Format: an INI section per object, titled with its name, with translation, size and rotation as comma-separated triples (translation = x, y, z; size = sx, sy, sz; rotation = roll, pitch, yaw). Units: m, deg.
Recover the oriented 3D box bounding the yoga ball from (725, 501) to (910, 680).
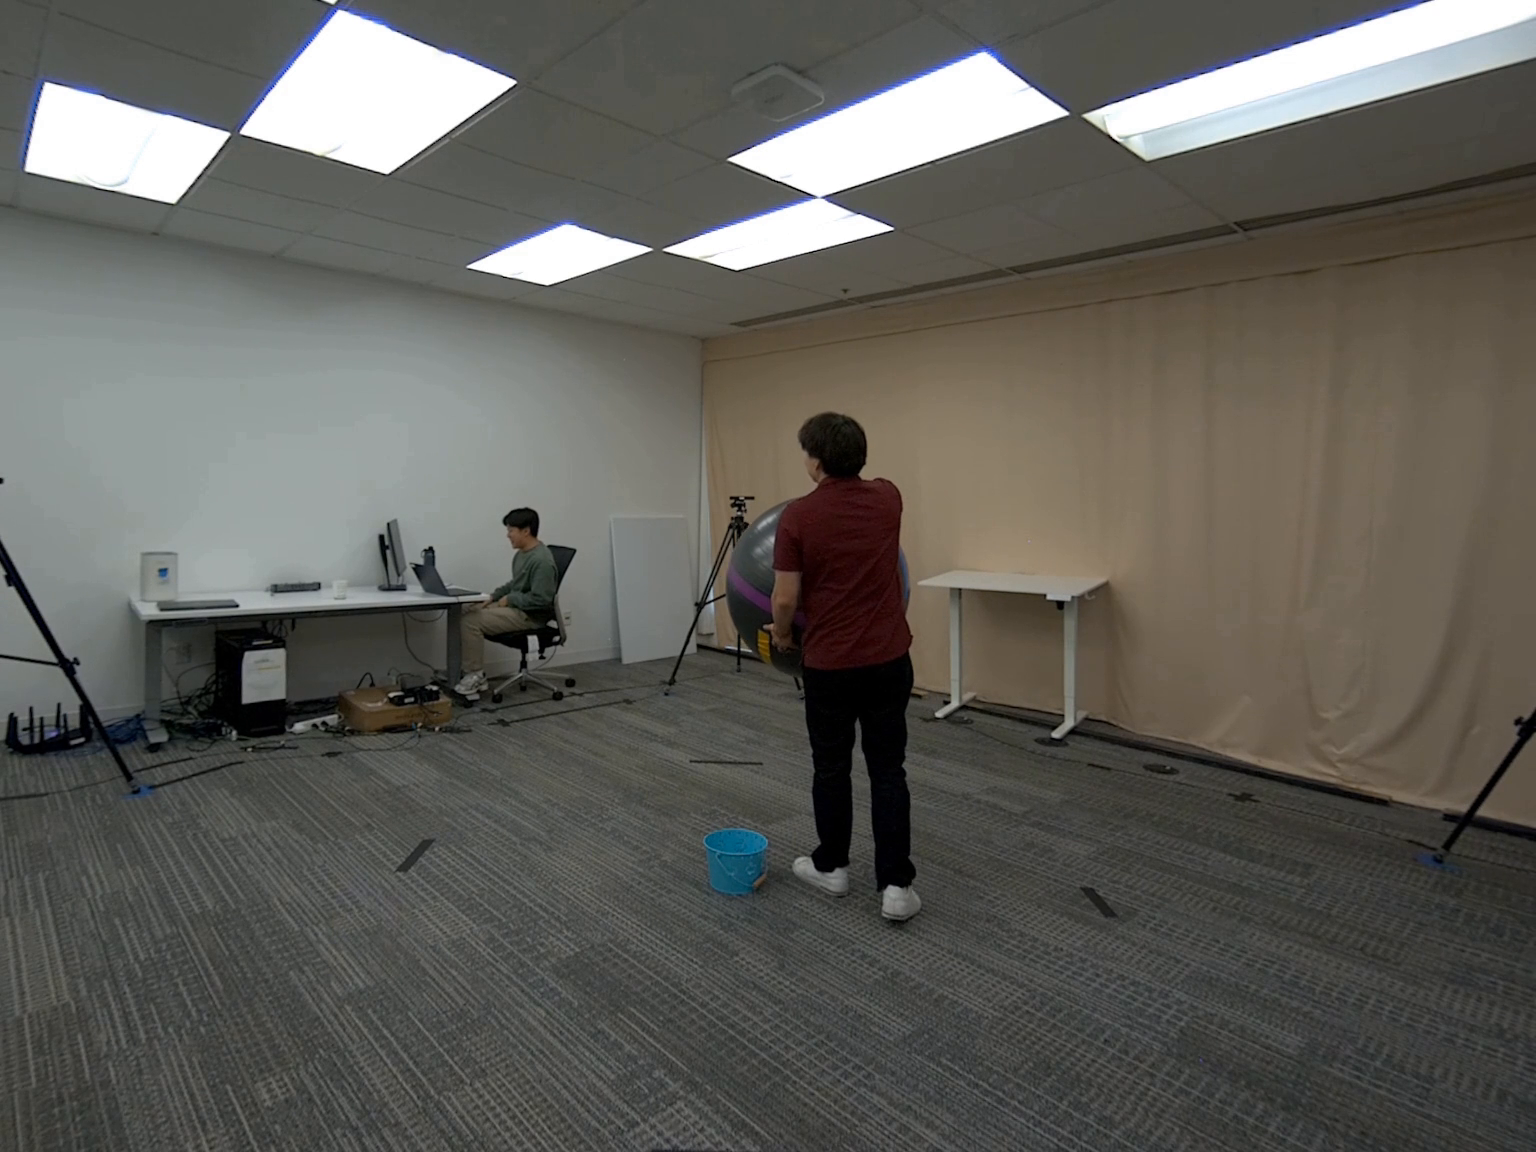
[yoga ball]
translation = 0.207, 0.054, 3.492
size = 0.757, 0.756, 0.761
rotation = 1, 4, -1
